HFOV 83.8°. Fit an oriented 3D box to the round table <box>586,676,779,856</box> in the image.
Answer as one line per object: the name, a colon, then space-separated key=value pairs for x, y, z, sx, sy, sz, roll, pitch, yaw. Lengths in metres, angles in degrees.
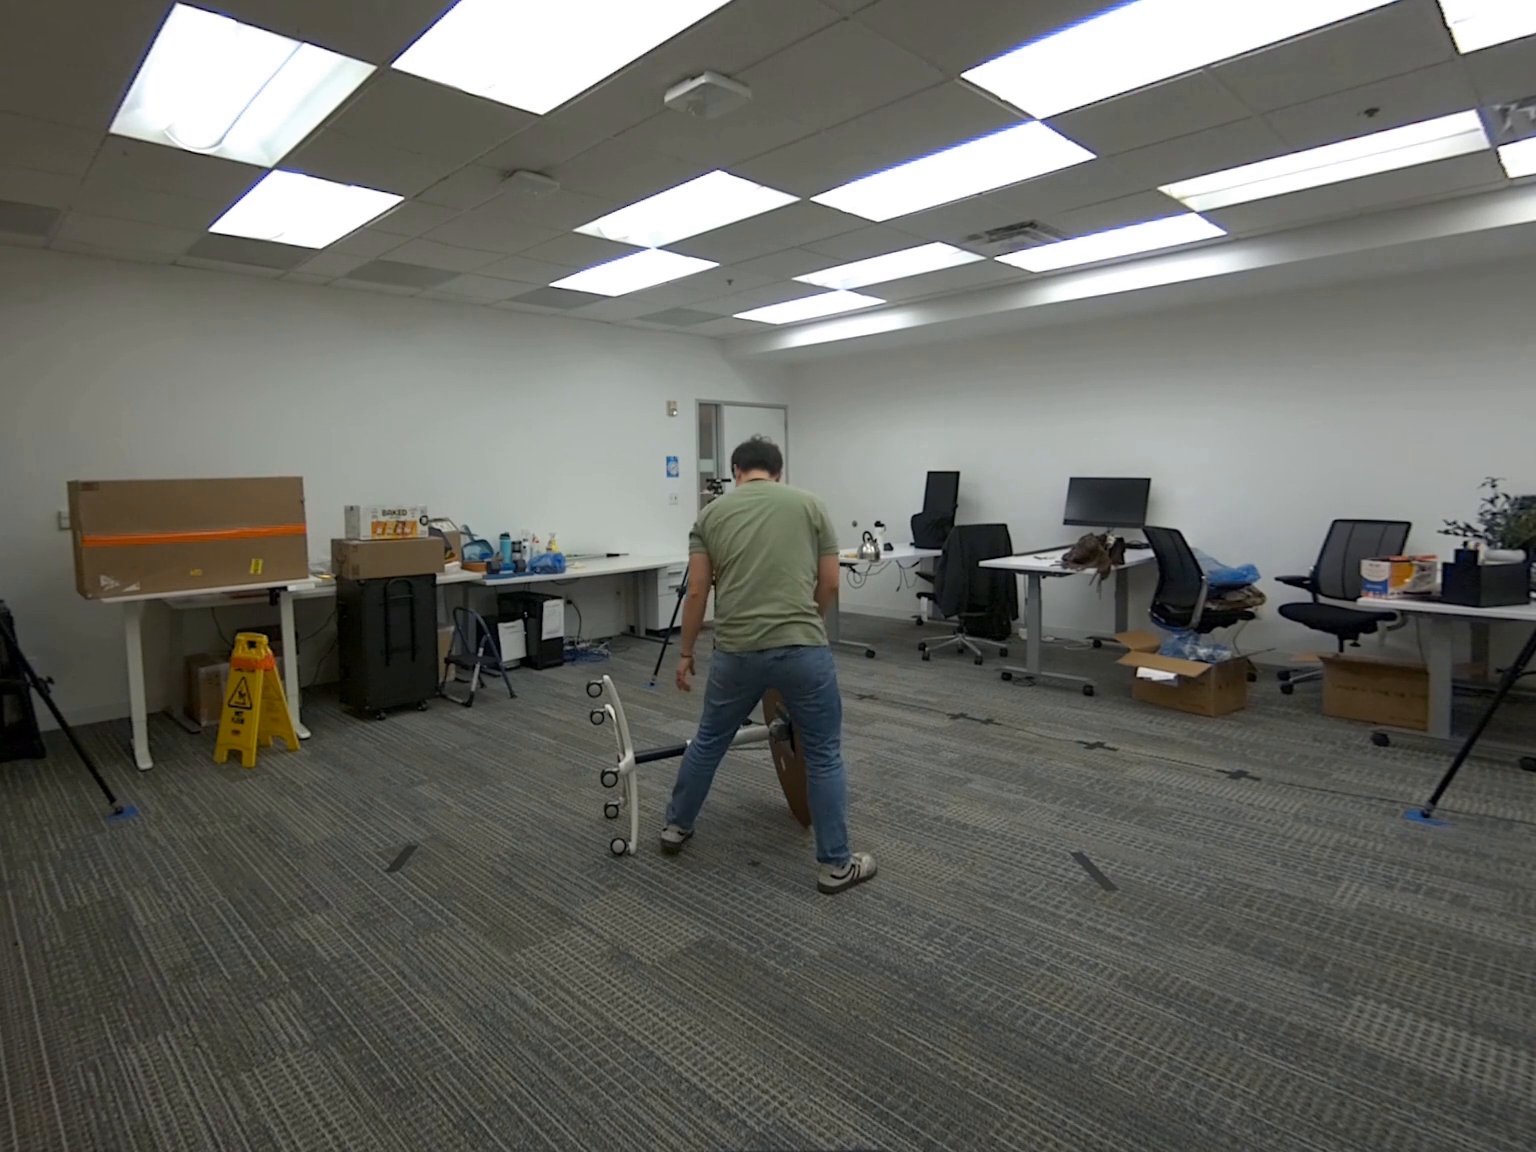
round table: x=-0.282 y=0.681 z=3.406 sx=0.786 sy=0.760 sz=0.776 roll=-9 pitch=6 yaw=-13
